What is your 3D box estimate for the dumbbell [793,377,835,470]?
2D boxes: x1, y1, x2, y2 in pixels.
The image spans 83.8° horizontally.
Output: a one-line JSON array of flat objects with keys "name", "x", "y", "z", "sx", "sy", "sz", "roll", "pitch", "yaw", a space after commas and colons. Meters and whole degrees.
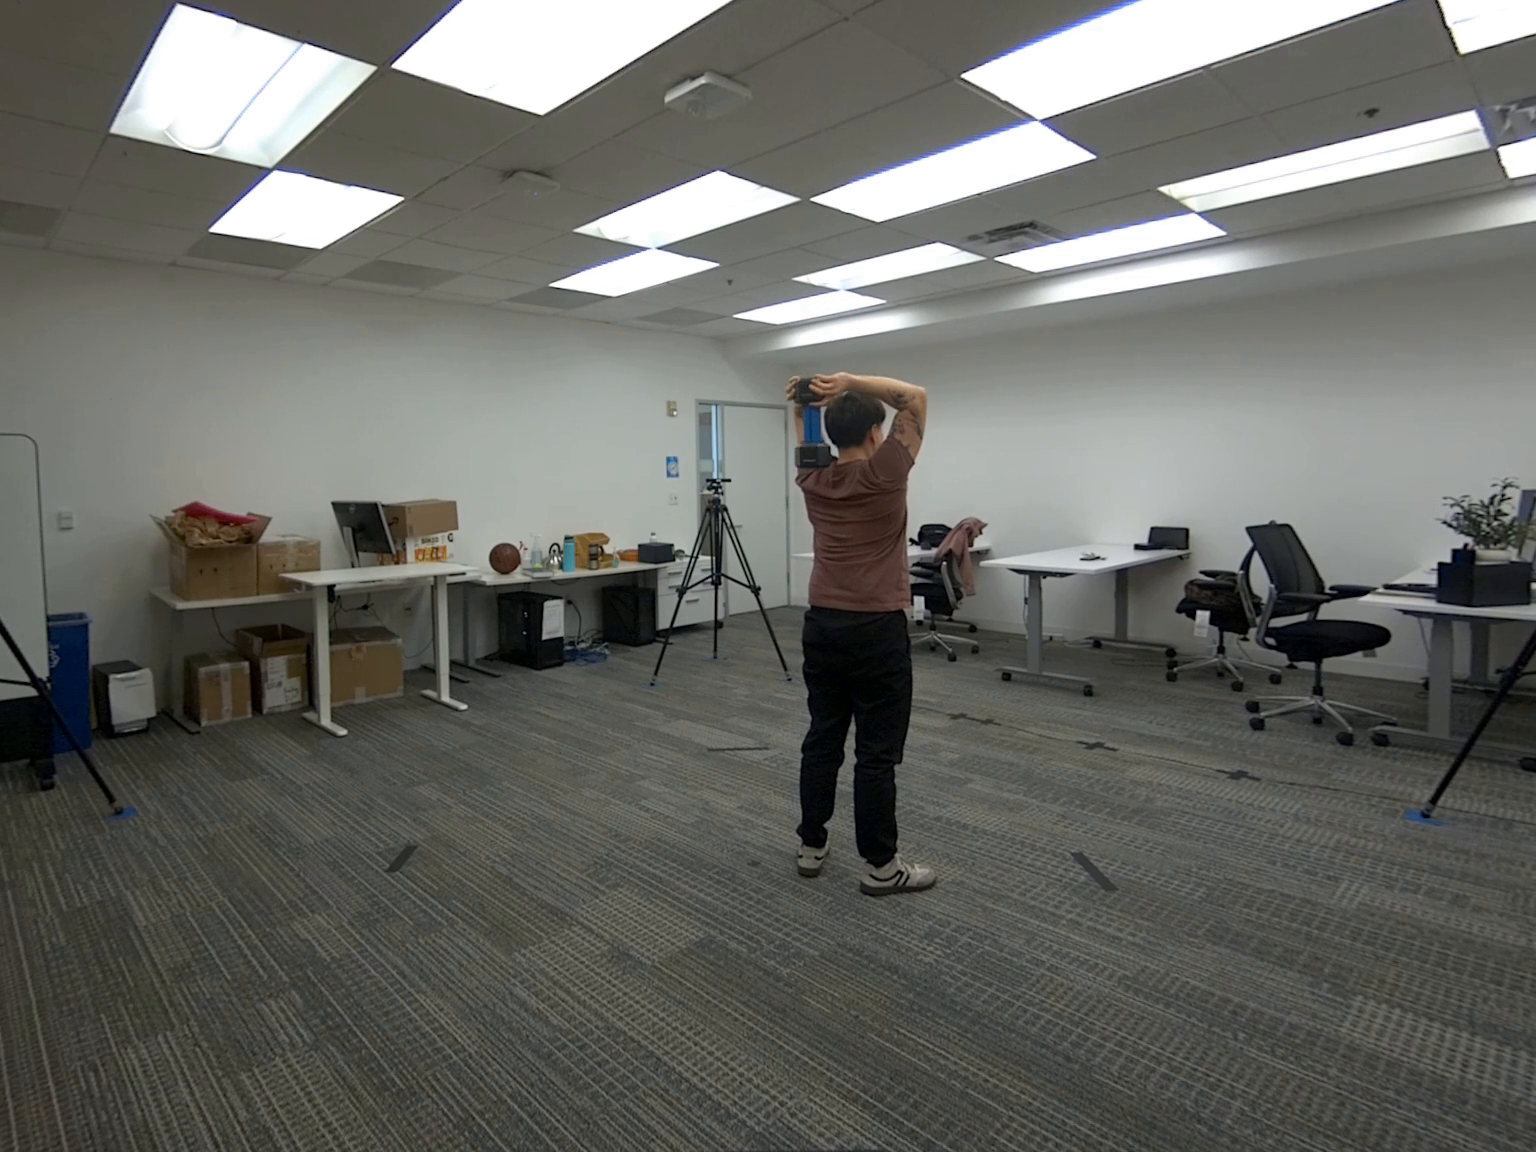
[{"name": "dumbbell", "x": 0.154, "y": -0.503, "z": 2.816, "sx": 0.119, "sy": 0.293, "sz": 0.112, "roll": -2, "pitch": 3, "yaw": -39}]
